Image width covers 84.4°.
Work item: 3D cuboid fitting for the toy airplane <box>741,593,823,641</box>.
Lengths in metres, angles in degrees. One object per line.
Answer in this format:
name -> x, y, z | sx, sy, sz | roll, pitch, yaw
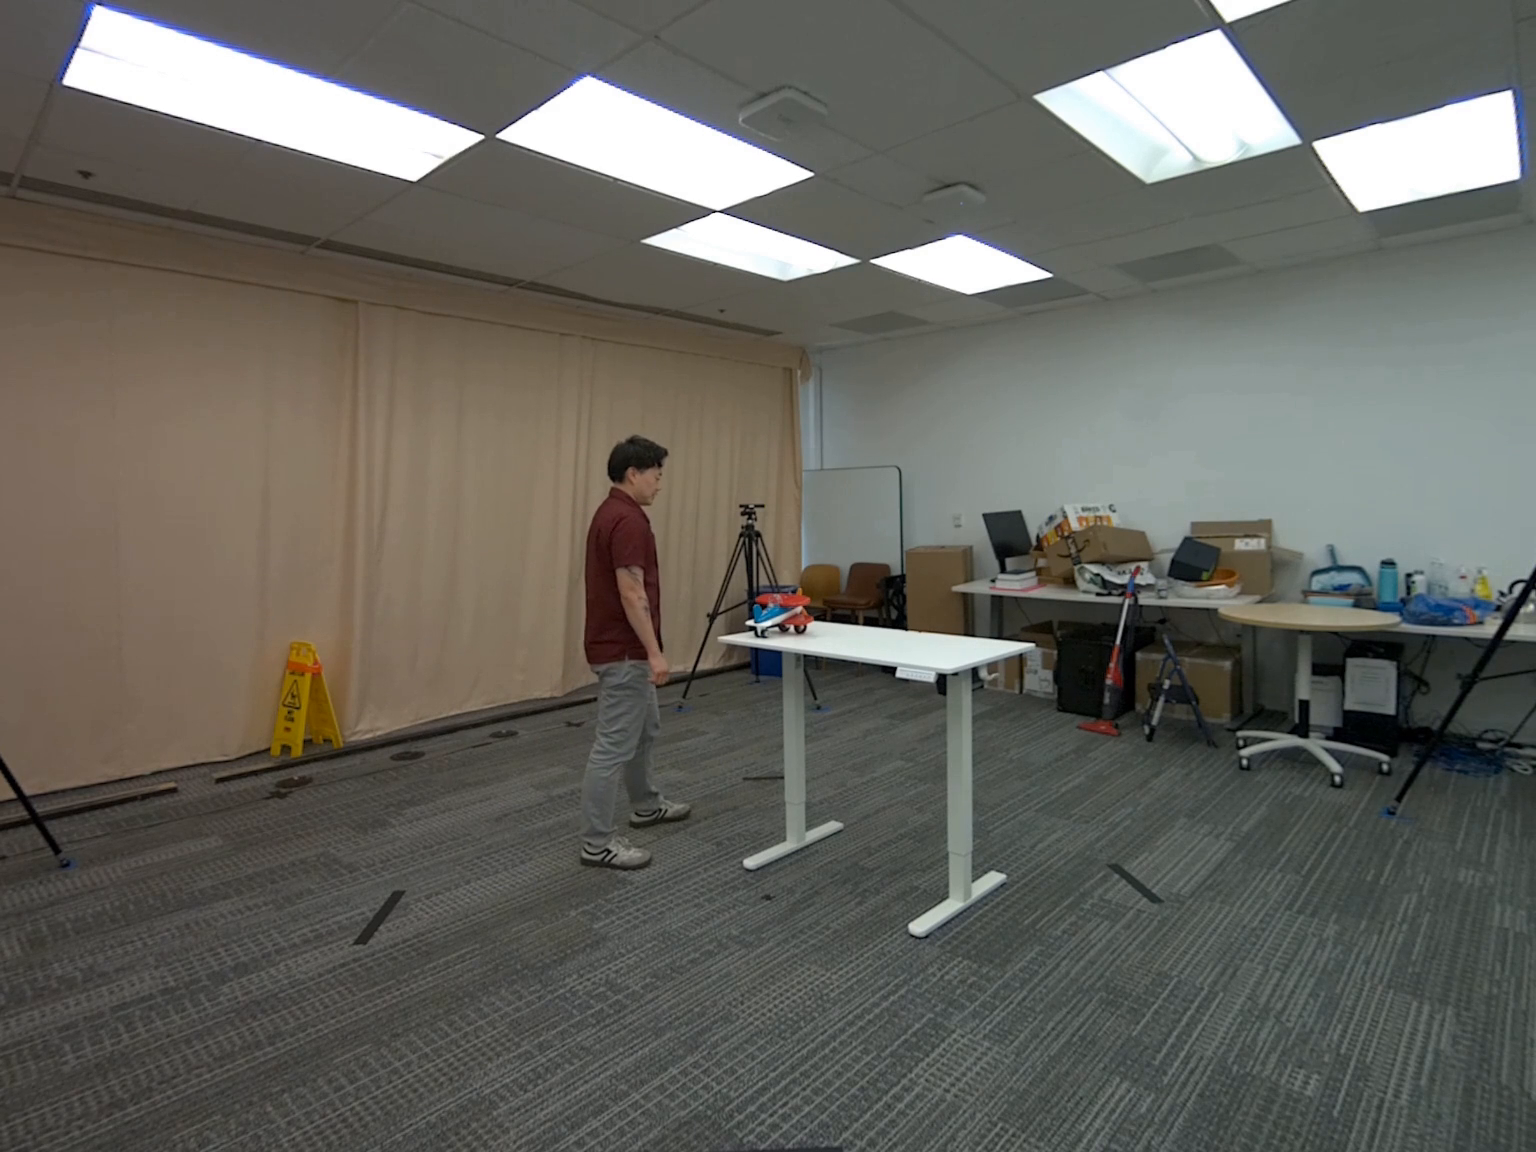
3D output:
toy airplane -> 0.057, 0.153, 3.273 | 0.256, 0.156, 0.254 | -1, 2, 17
